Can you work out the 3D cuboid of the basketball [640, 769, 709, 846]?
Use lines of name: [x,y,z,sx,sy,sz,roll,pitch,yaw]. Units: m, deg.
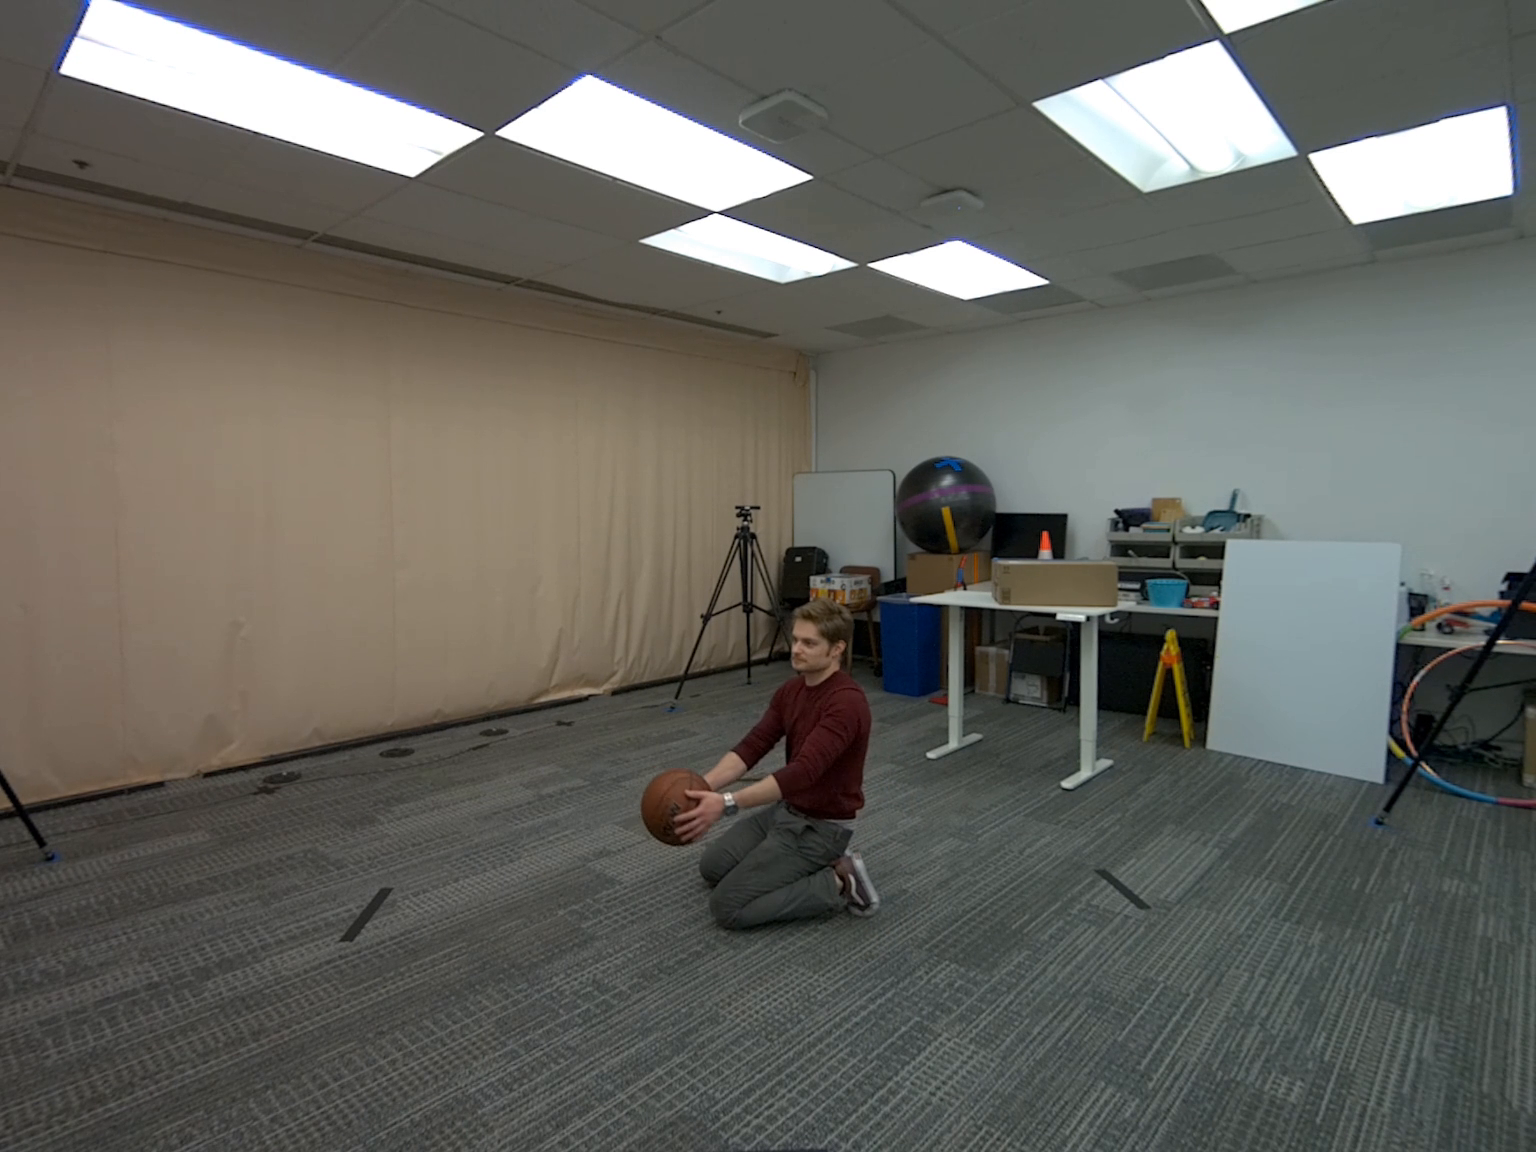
basketball: [-0.270,0.742,2.694,0.236,0.235,0.237,0,4,-2]
